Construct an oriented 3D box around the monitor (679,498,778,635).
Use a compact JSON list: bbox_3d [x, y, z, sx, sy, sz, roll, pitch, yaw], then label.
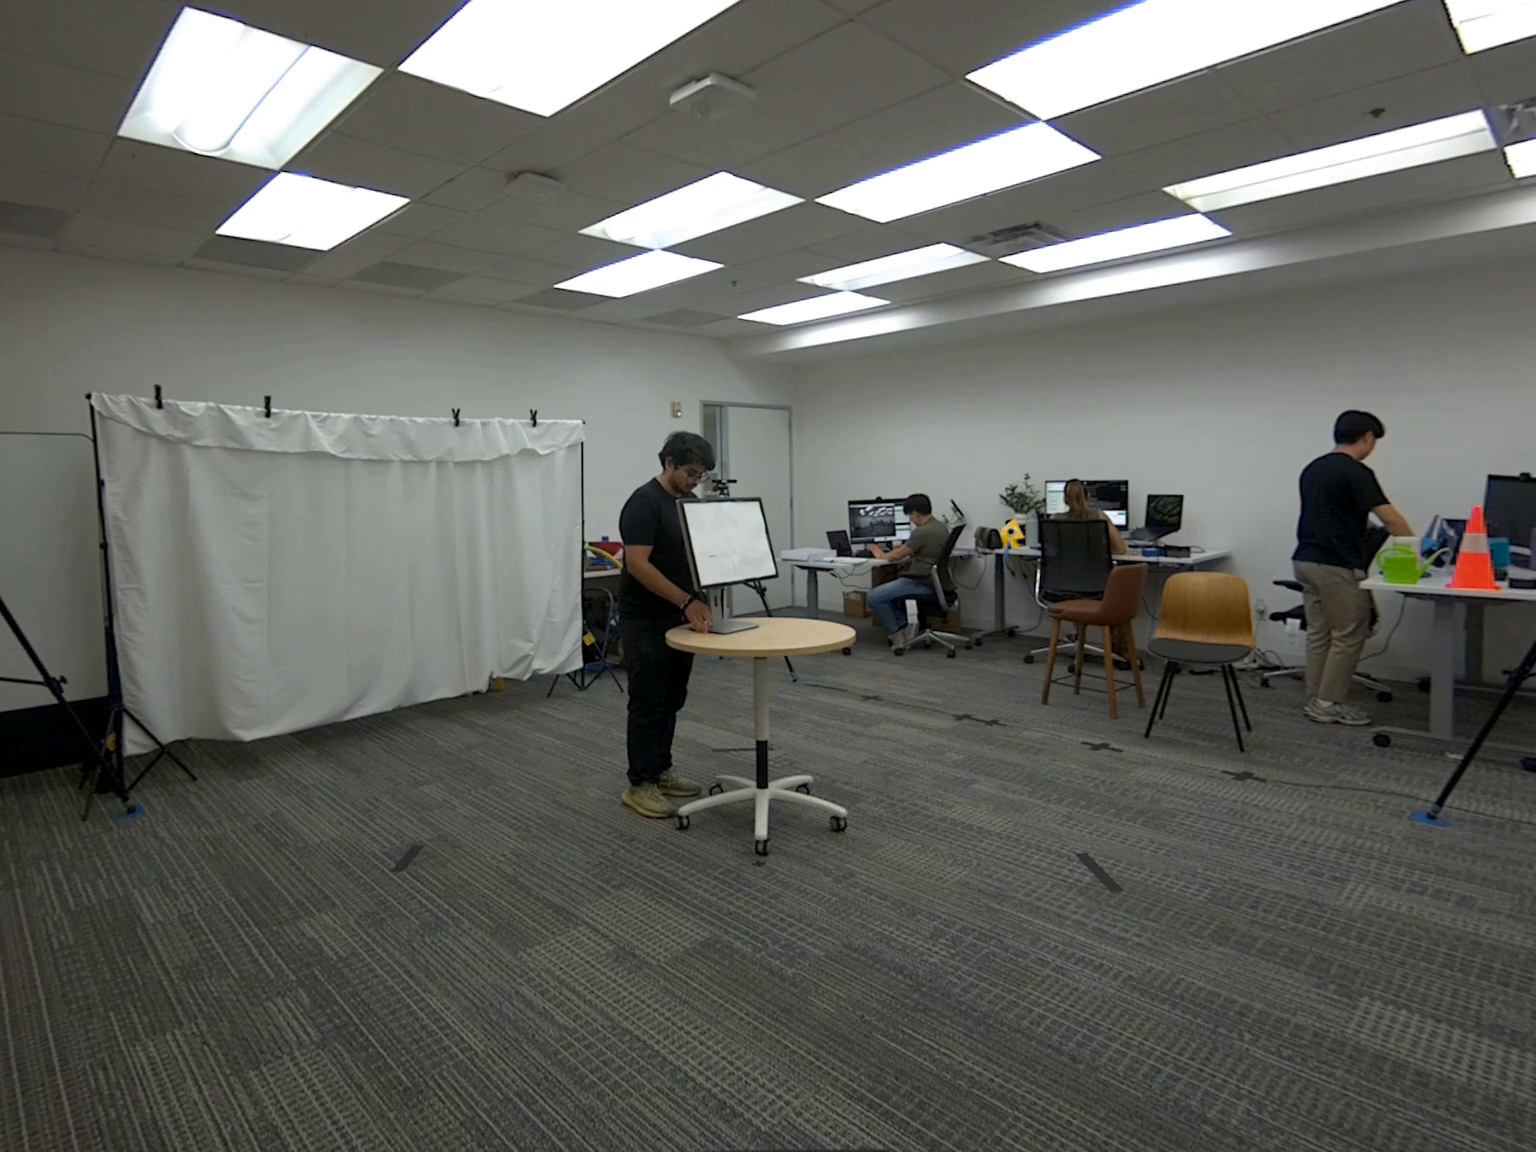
[{"bbox_3d":[-0.210,-0.048,3.566,0.215,0.555,0.551,-7,0,35],"label":"monitor"}]
